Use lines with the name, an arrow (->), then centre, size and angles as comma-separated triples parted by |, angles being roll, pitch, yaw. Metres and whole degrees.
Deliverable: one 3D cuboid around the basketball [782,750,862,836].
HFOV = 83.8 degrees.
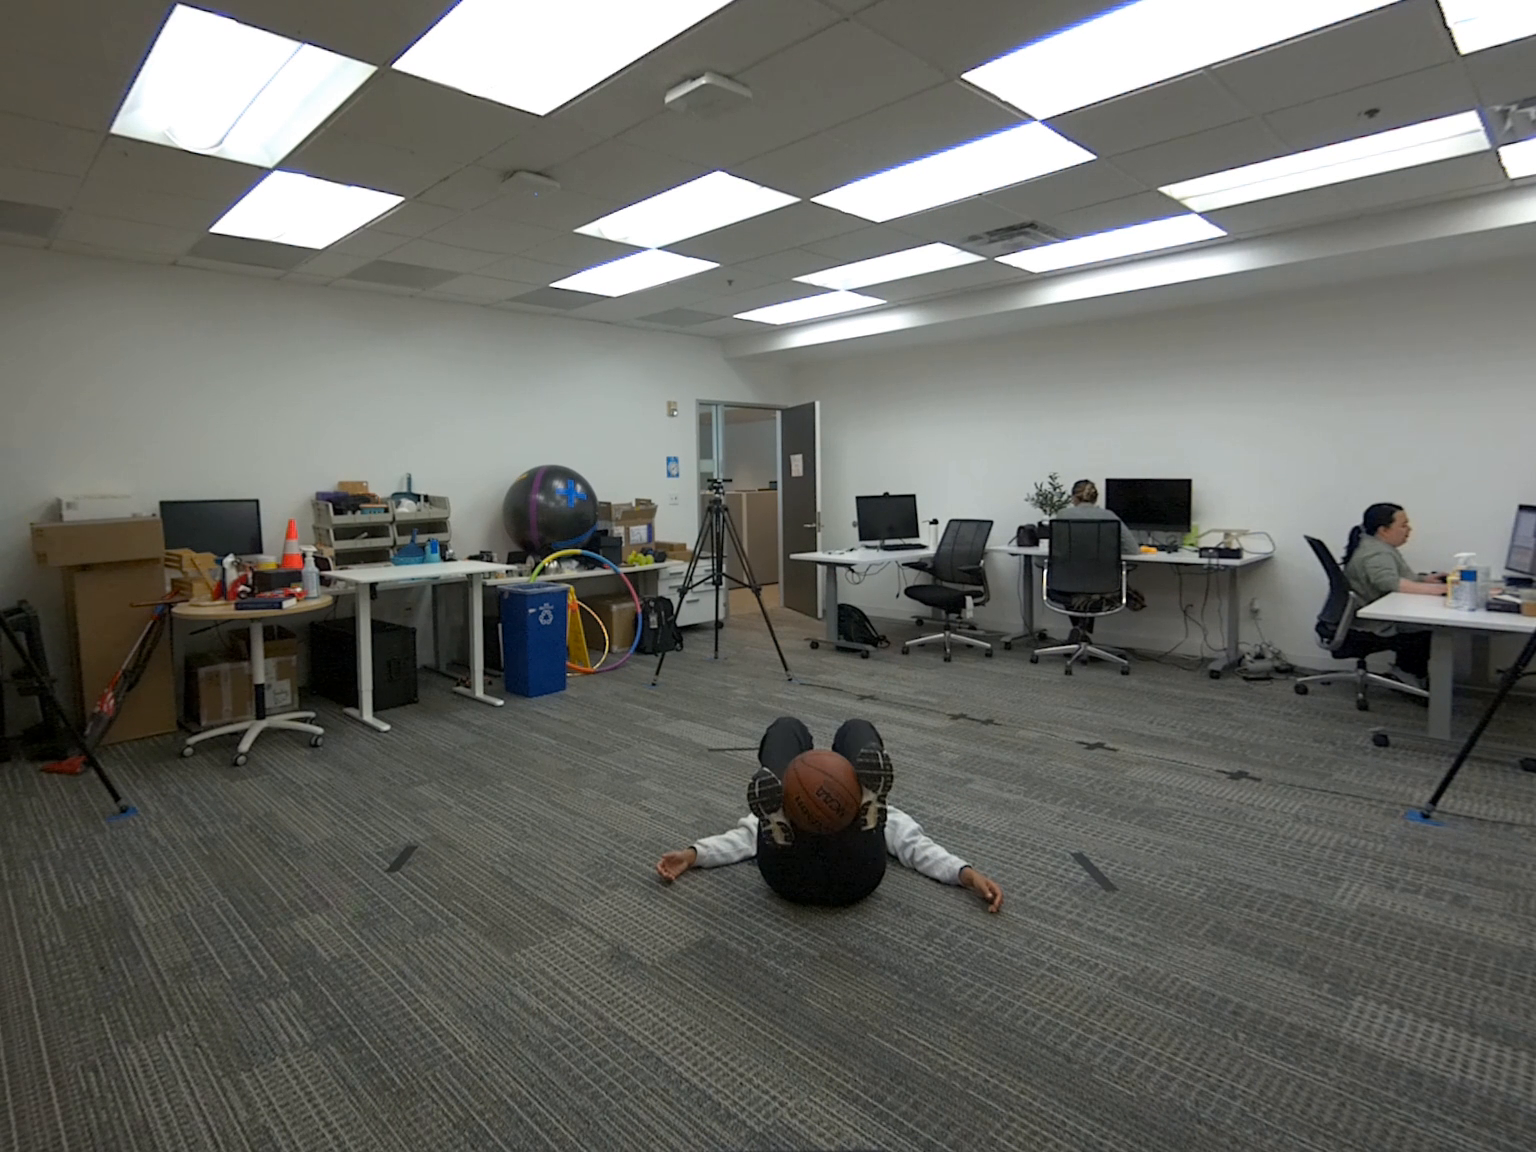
basketball -> 0.163, 0.624, 2.515 | 0.236, 0.235, 0.236 | -4, 2, -2
